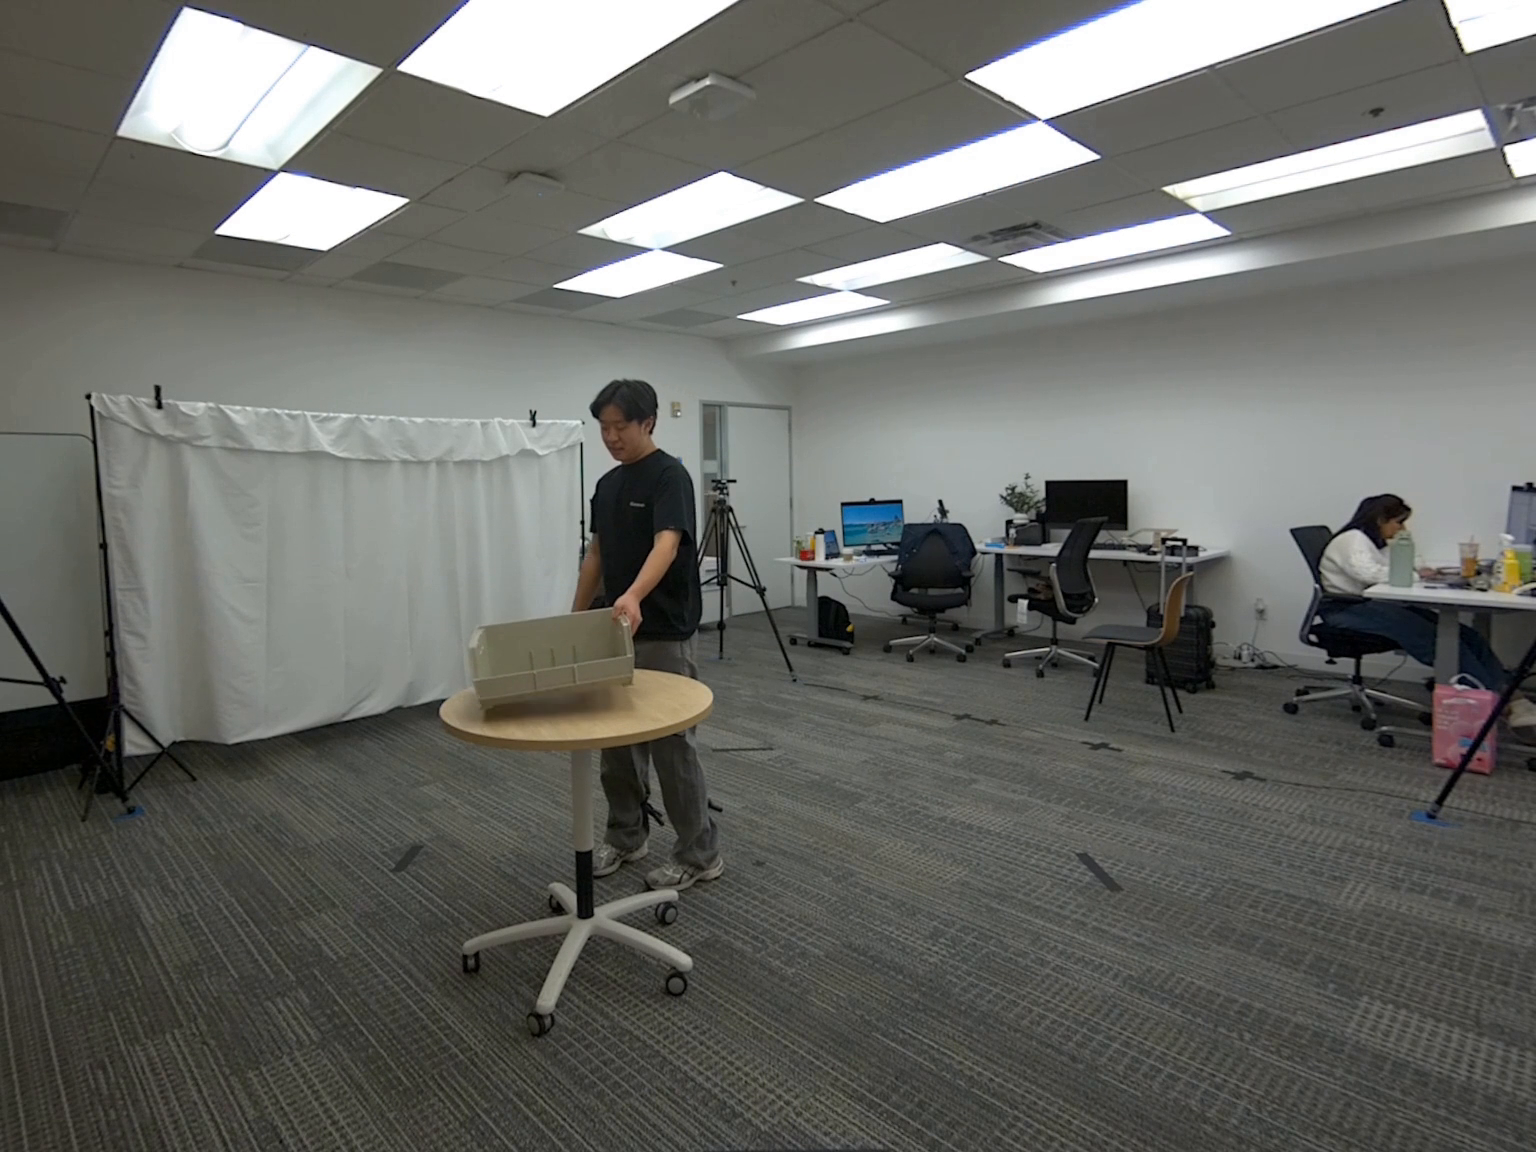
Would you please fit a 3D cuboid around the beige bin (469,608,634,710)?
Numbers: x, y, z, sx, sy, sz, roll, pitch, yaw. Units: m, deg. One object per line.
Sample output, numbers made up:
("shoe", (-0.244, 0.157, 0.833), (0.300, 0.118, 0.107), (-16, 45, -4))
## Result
("beige bin", (-0.604, 0.227, 2.399), (0.418, 0.188, 0.383), (-8, 5, -13))
